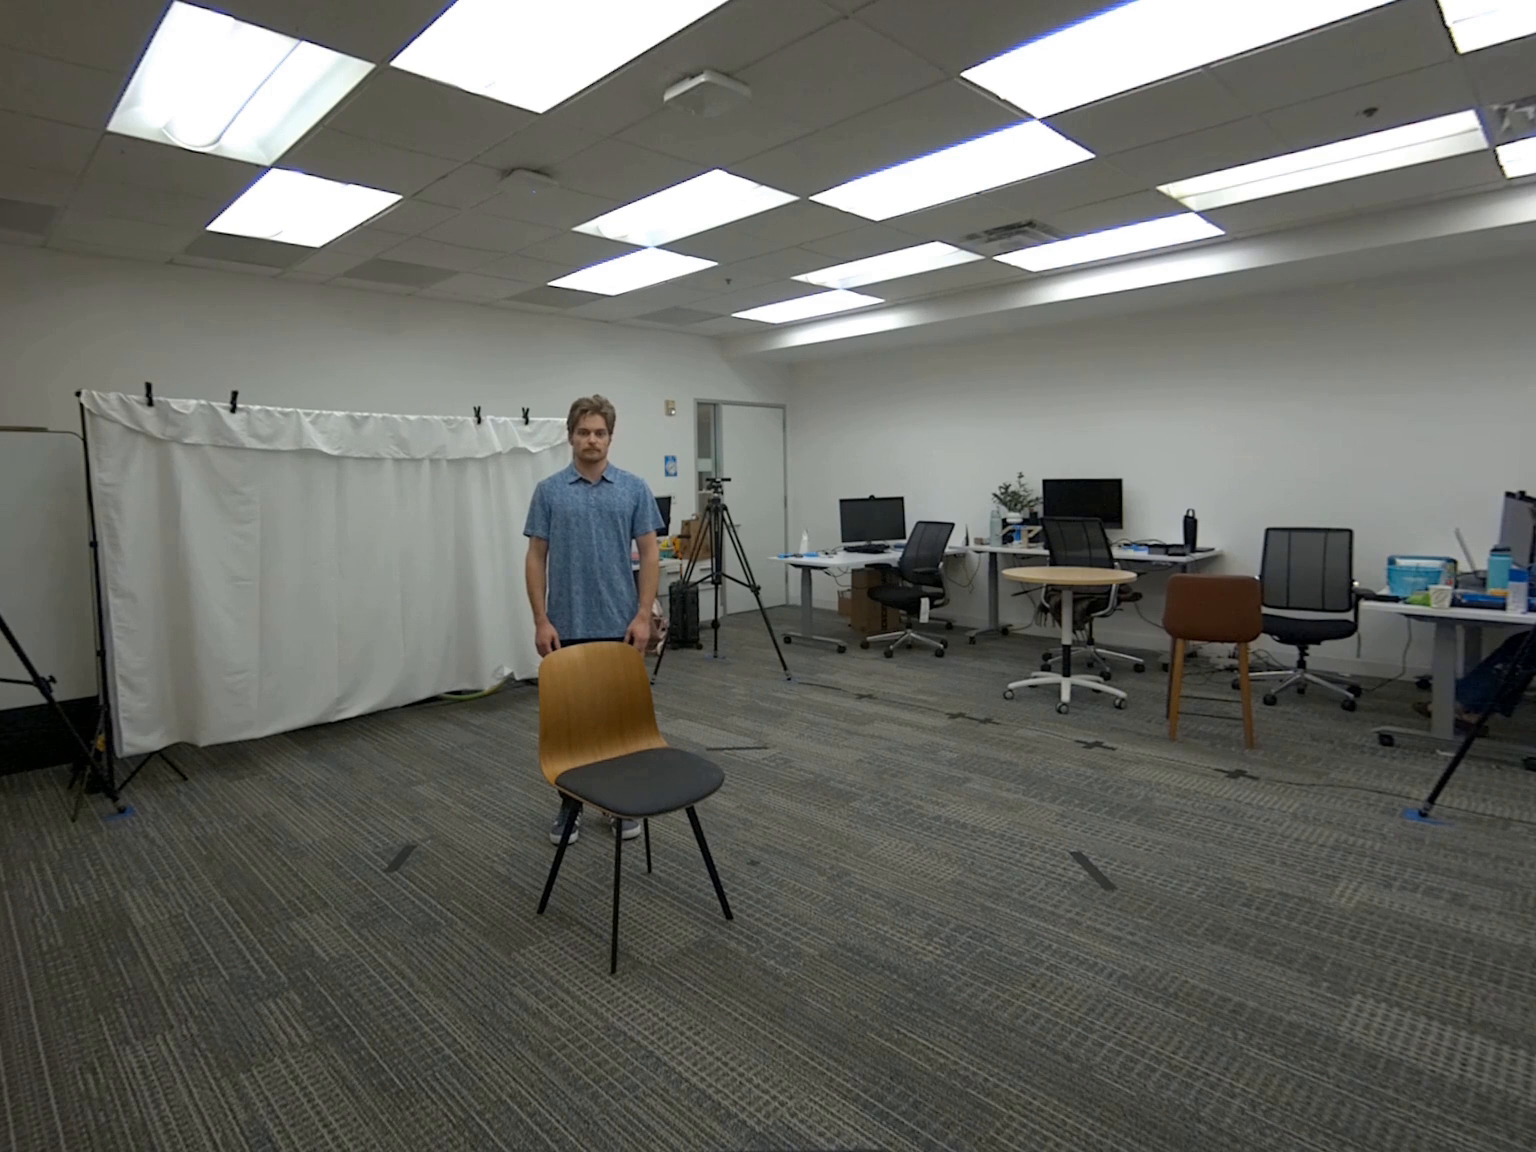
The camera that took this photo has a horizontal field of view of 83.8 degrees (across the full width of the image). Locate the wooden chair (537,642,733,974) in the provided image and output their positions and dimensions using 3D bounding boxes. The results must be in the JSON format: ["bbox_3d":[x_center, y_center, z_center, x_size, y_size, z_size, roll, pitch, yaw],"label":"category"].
[{"bbox_3d":[-0.425,0.667,2.699,0.465,0.877,0.537,-5,2,-41],"label":"wooden chair"}]
